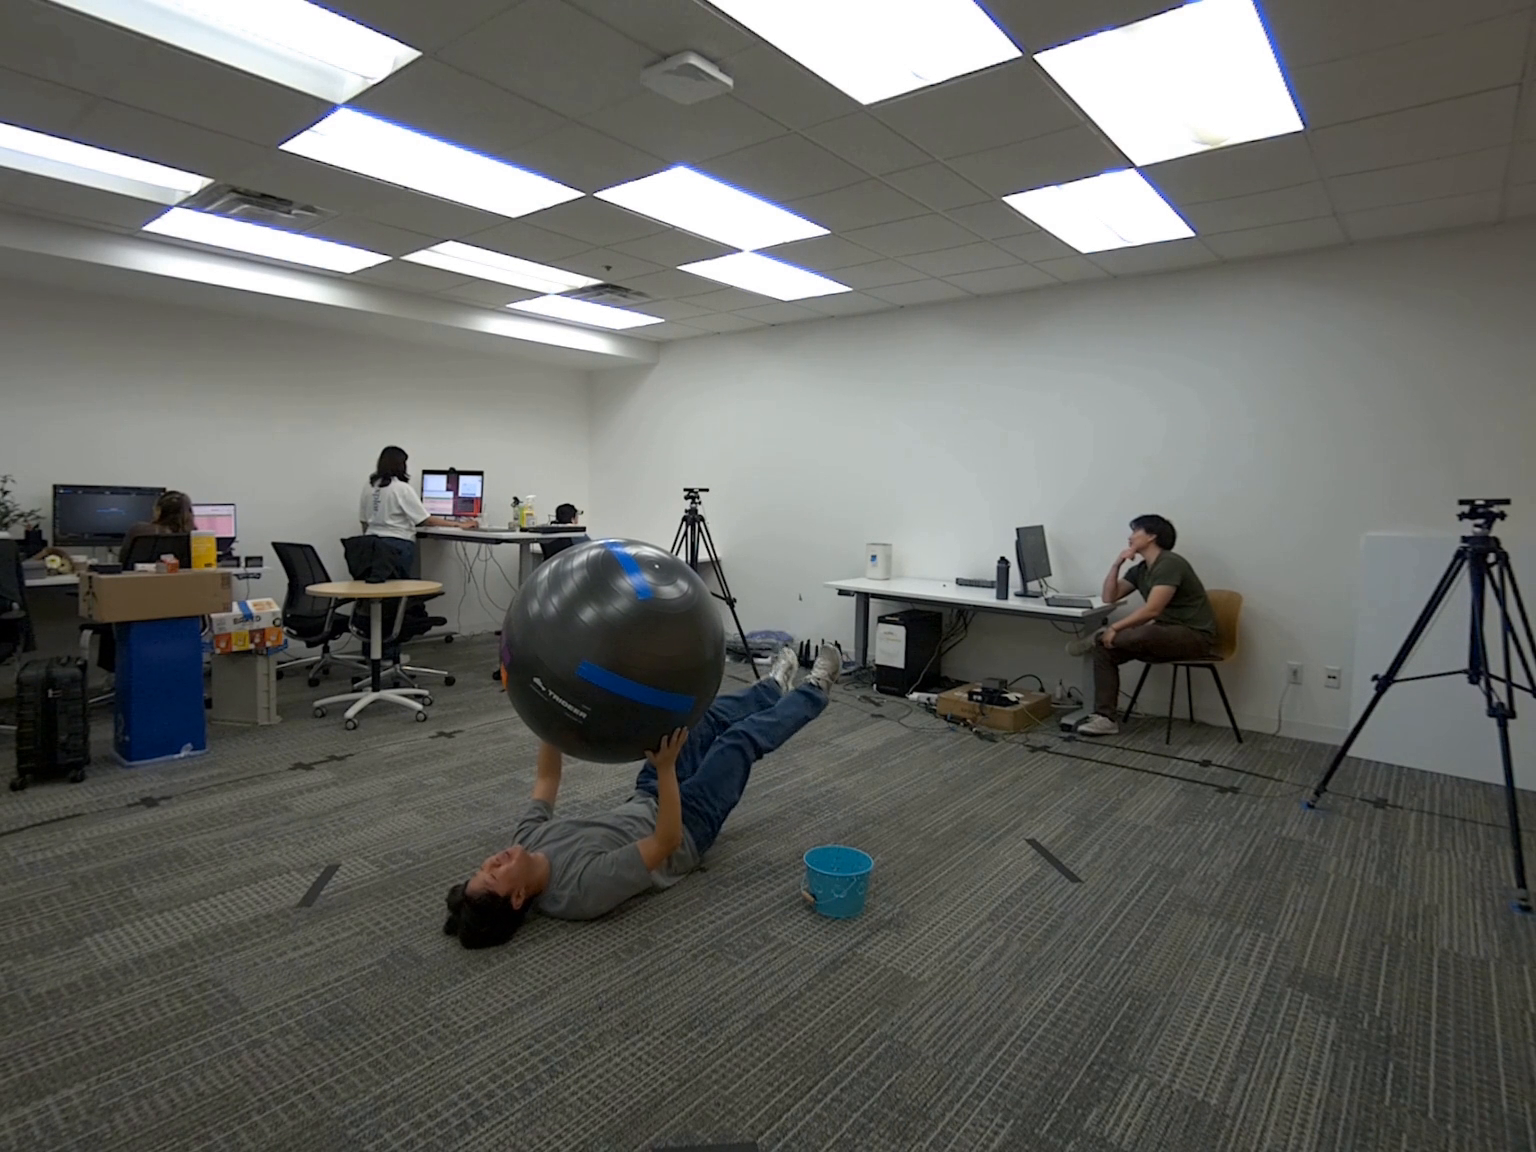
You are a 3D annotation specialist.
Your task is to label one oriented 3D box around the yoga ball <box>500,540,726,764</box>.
[{"bbox_3d":[-0.536,0.256,2.892,0.757,0.756,0.762,1,4,-2],"label":"yoga ball"}]
